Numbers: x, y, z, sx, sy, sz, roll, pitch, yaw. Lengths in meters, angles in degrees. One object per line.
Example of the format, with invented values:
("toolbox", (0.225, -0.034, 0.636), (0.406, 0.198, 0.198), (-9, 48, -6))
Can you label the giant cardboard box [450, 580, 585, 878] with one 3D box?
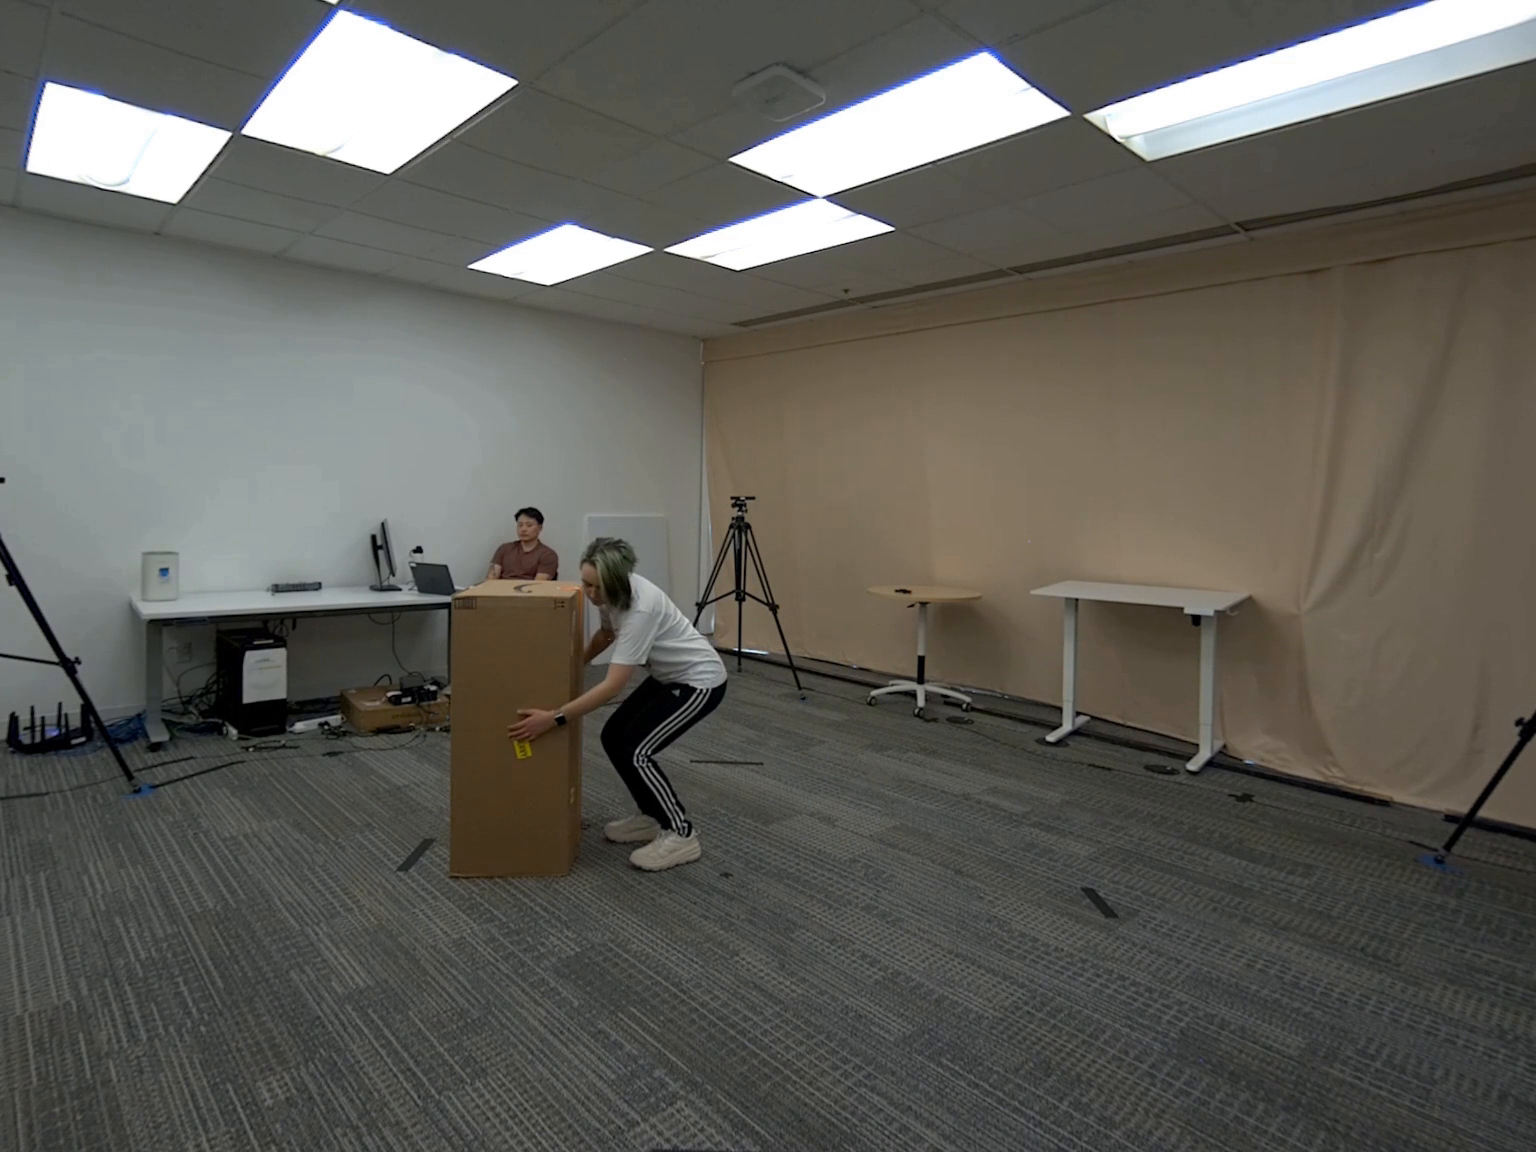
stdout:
("giant cardboard box", (-0.966, 0.560, 3.307), (0.445, 1.025, 0.588), (0, 3, -6))
